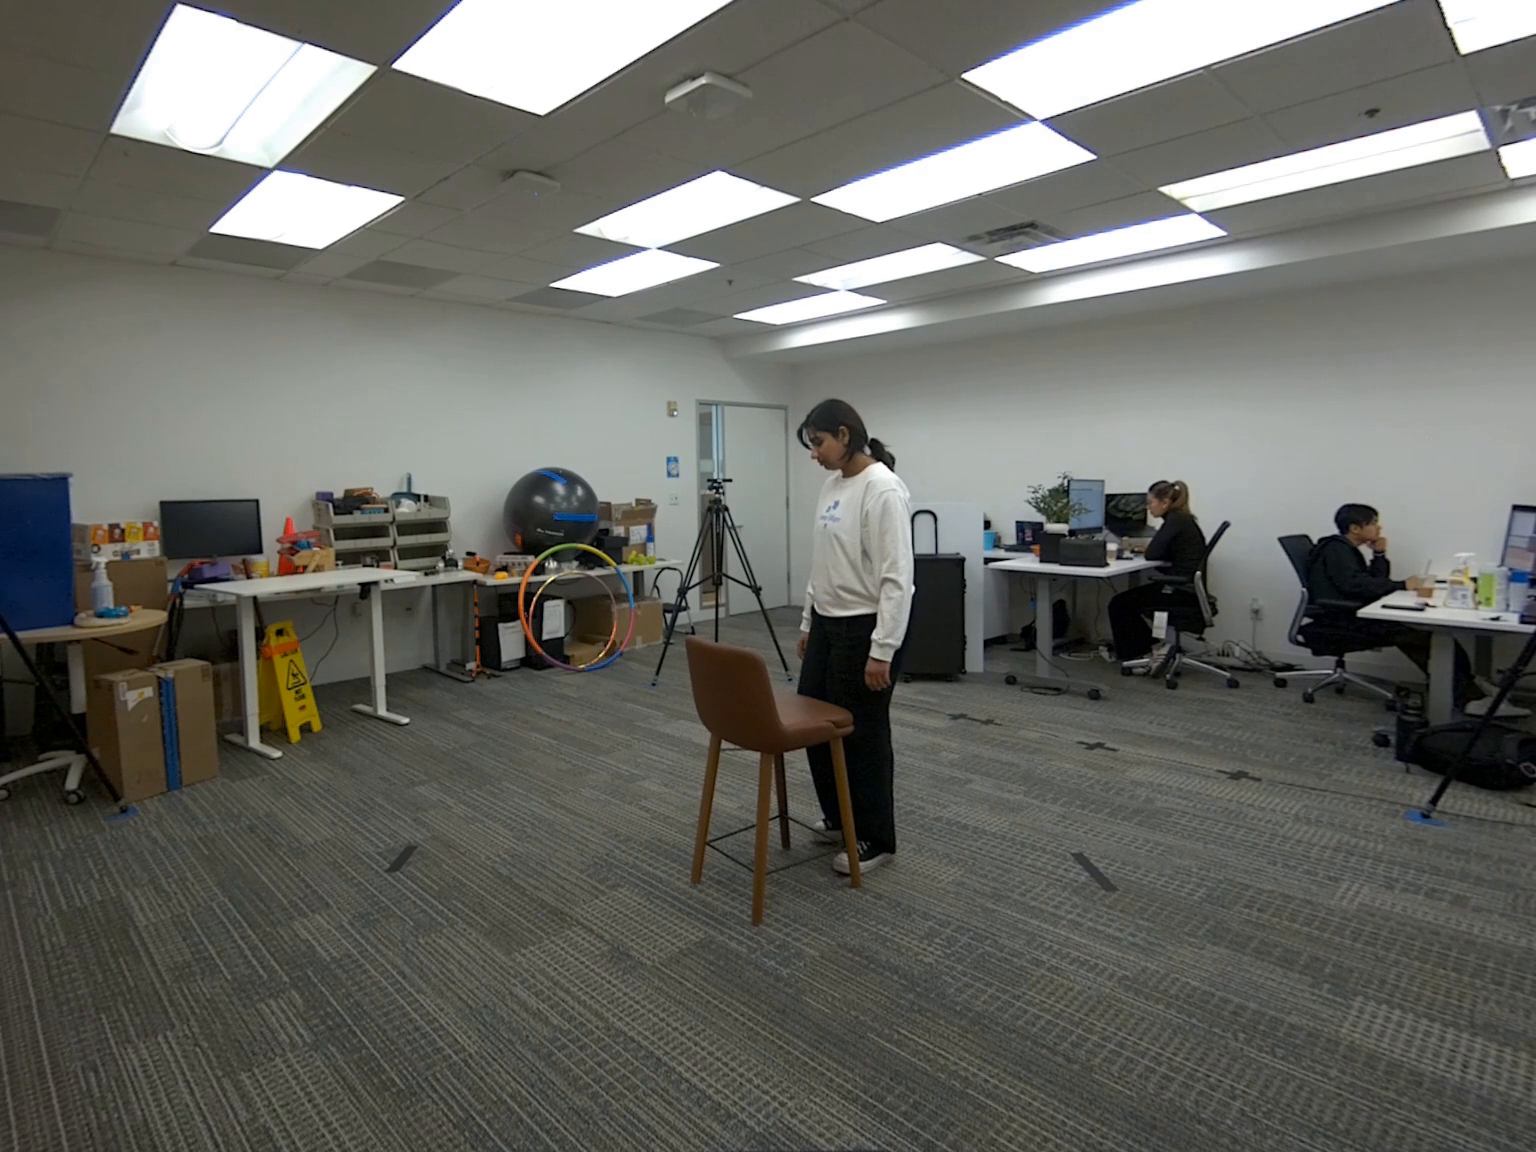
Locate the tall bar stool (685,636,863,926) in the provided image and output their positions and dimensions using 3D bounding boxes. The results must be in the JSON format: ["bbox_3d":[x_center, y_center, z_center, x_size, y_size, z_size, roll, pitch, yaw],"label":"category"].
[{"bbox_3d":[0.014,0.625,2.920,0.456,0.885,0.470,-6,6,-37],"label":"tall bar stool"}]
